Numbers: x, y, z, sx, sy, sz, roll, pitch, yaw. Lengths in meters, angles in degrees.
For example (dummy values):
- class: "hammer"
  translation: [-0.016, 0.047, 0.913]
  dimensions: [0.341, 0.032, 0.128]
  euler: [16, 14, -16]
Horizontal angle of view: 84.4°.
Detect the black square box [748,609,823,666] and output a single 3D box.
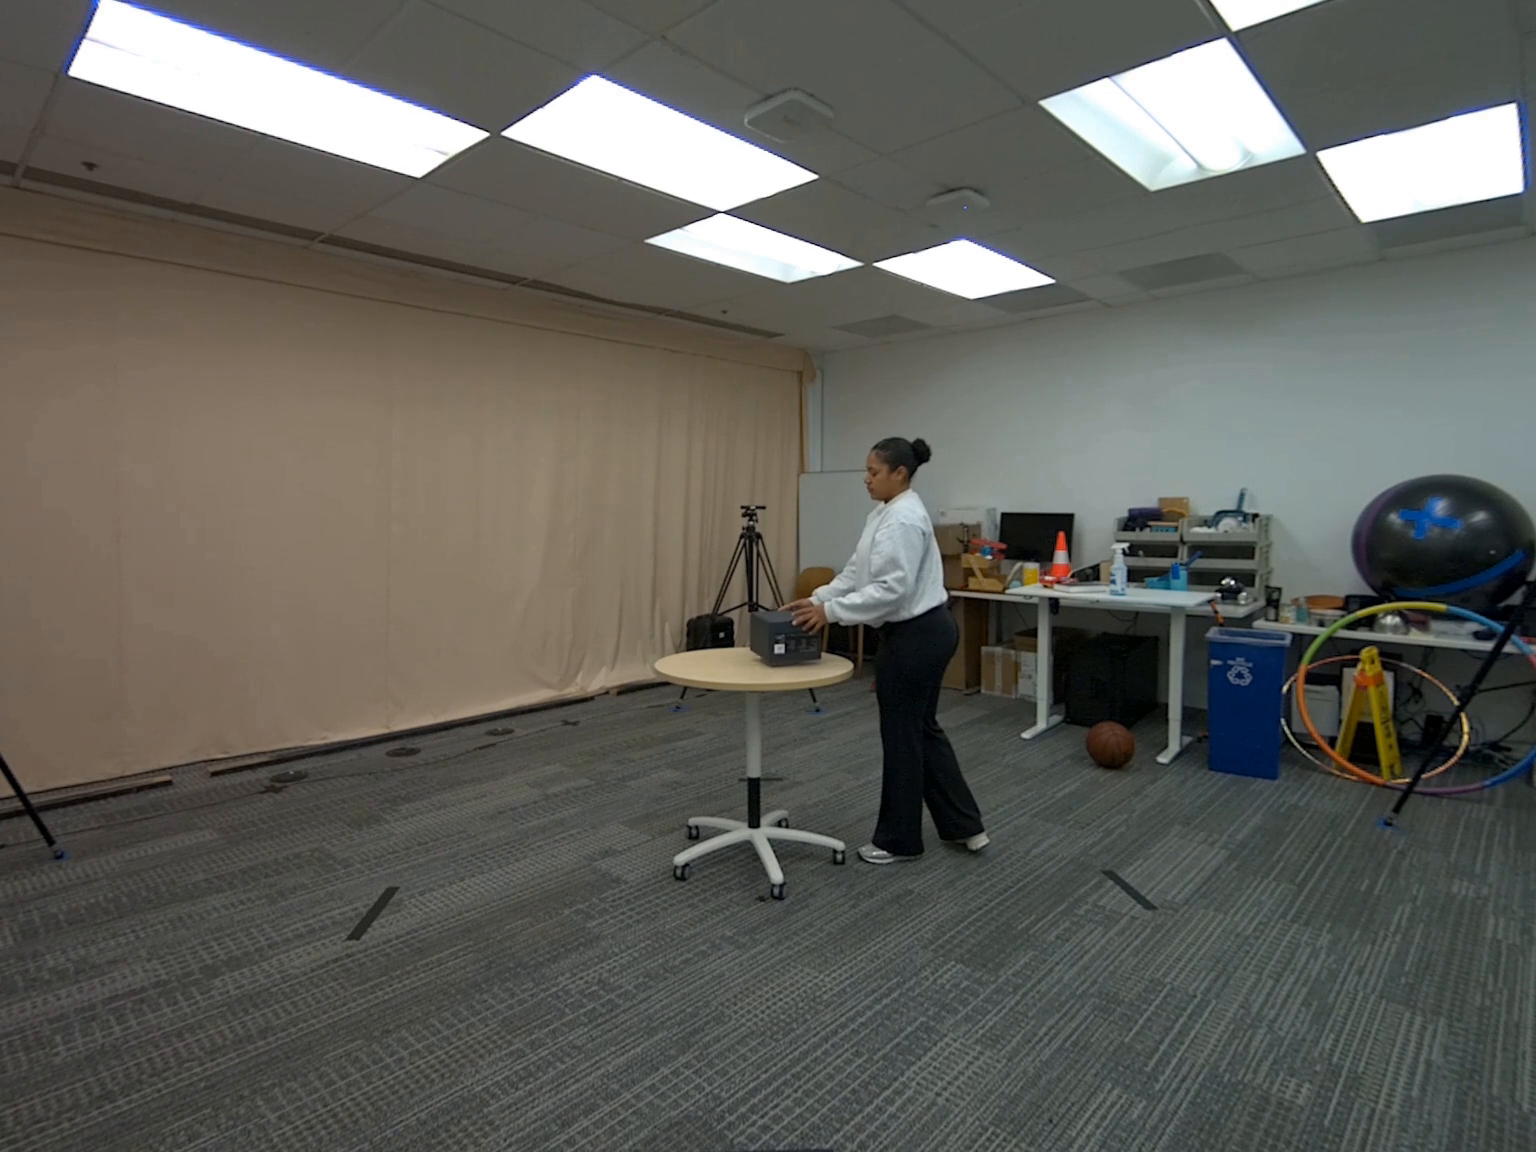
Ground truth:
- class: "black square box"
  translation: [0.075, 0.226, 3.280]
  dimensions: [0.214, 0.155, 0.232]
  euler: [-1, 7, -15]
